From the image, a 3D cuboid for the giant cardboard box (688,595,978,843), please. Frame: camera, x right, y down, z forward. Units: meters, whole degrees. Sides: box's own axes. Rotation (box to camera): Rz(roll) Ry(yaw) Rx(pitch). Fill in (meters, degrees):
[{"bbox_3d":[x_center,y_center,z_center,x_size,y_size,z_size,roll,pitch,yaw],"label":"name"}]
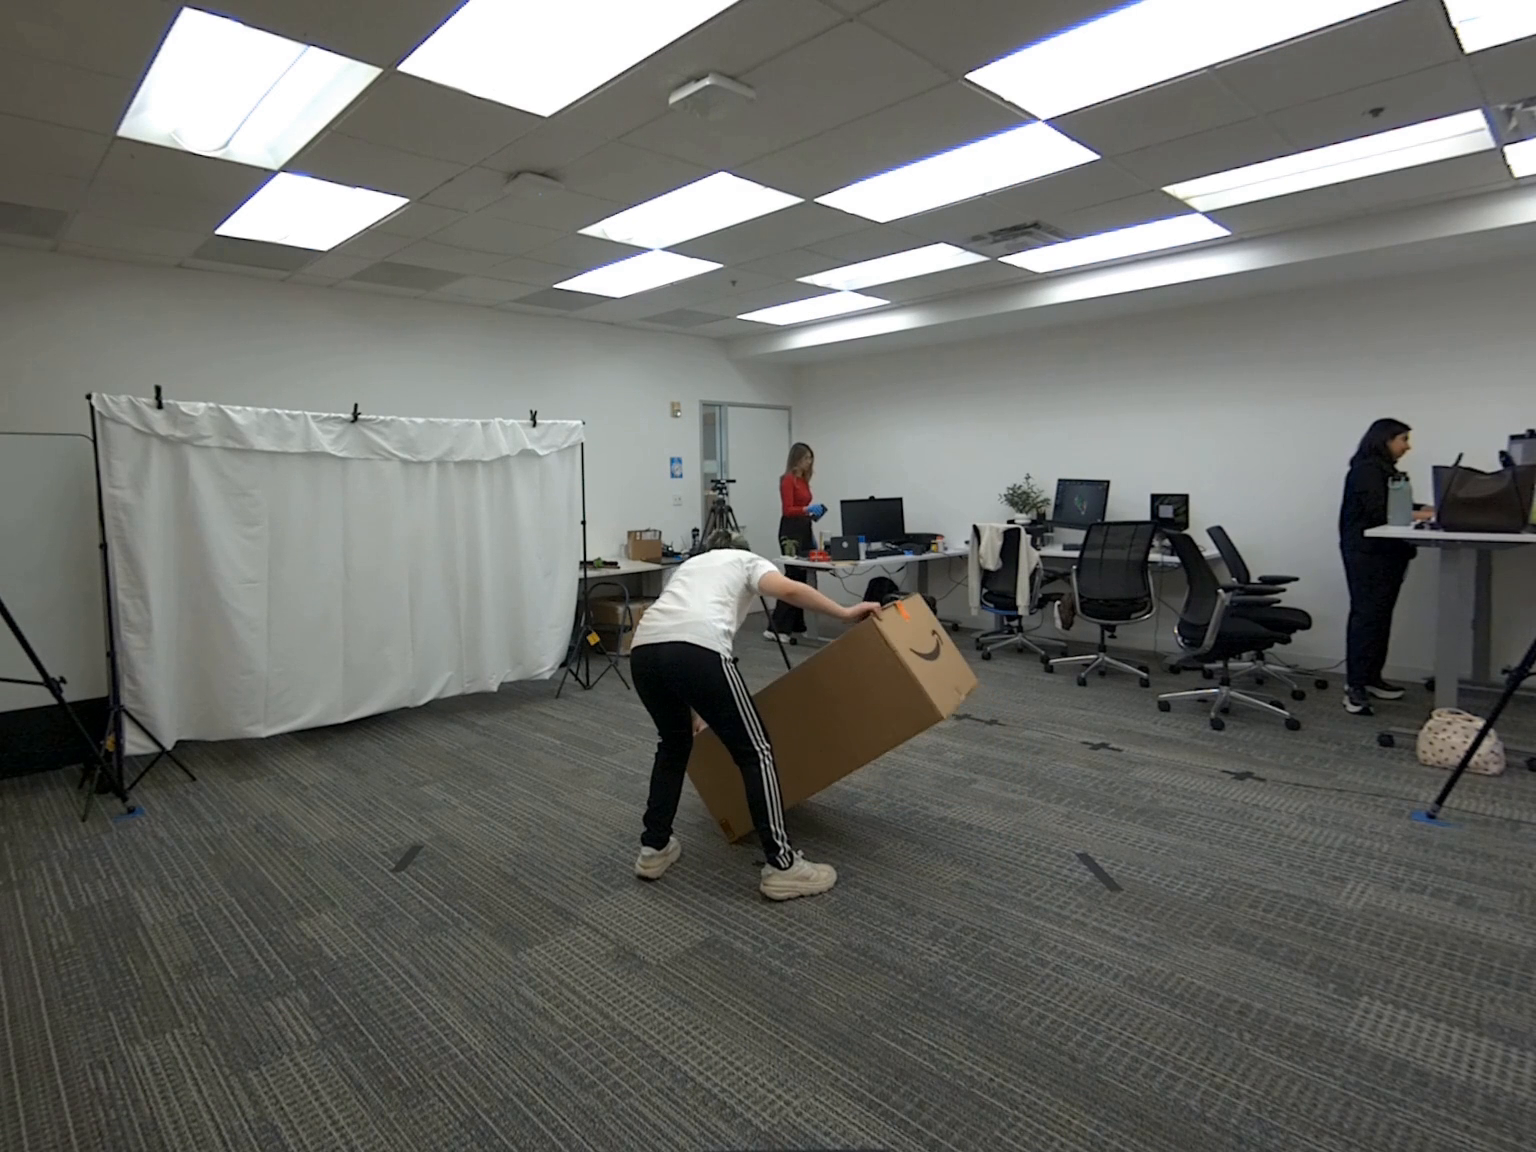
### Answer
[{"bbox_3d":[0.227,0.547,3.363,1.031,0.433,0.566,-37,-11,25],"label":"giant cardboard box"}]
